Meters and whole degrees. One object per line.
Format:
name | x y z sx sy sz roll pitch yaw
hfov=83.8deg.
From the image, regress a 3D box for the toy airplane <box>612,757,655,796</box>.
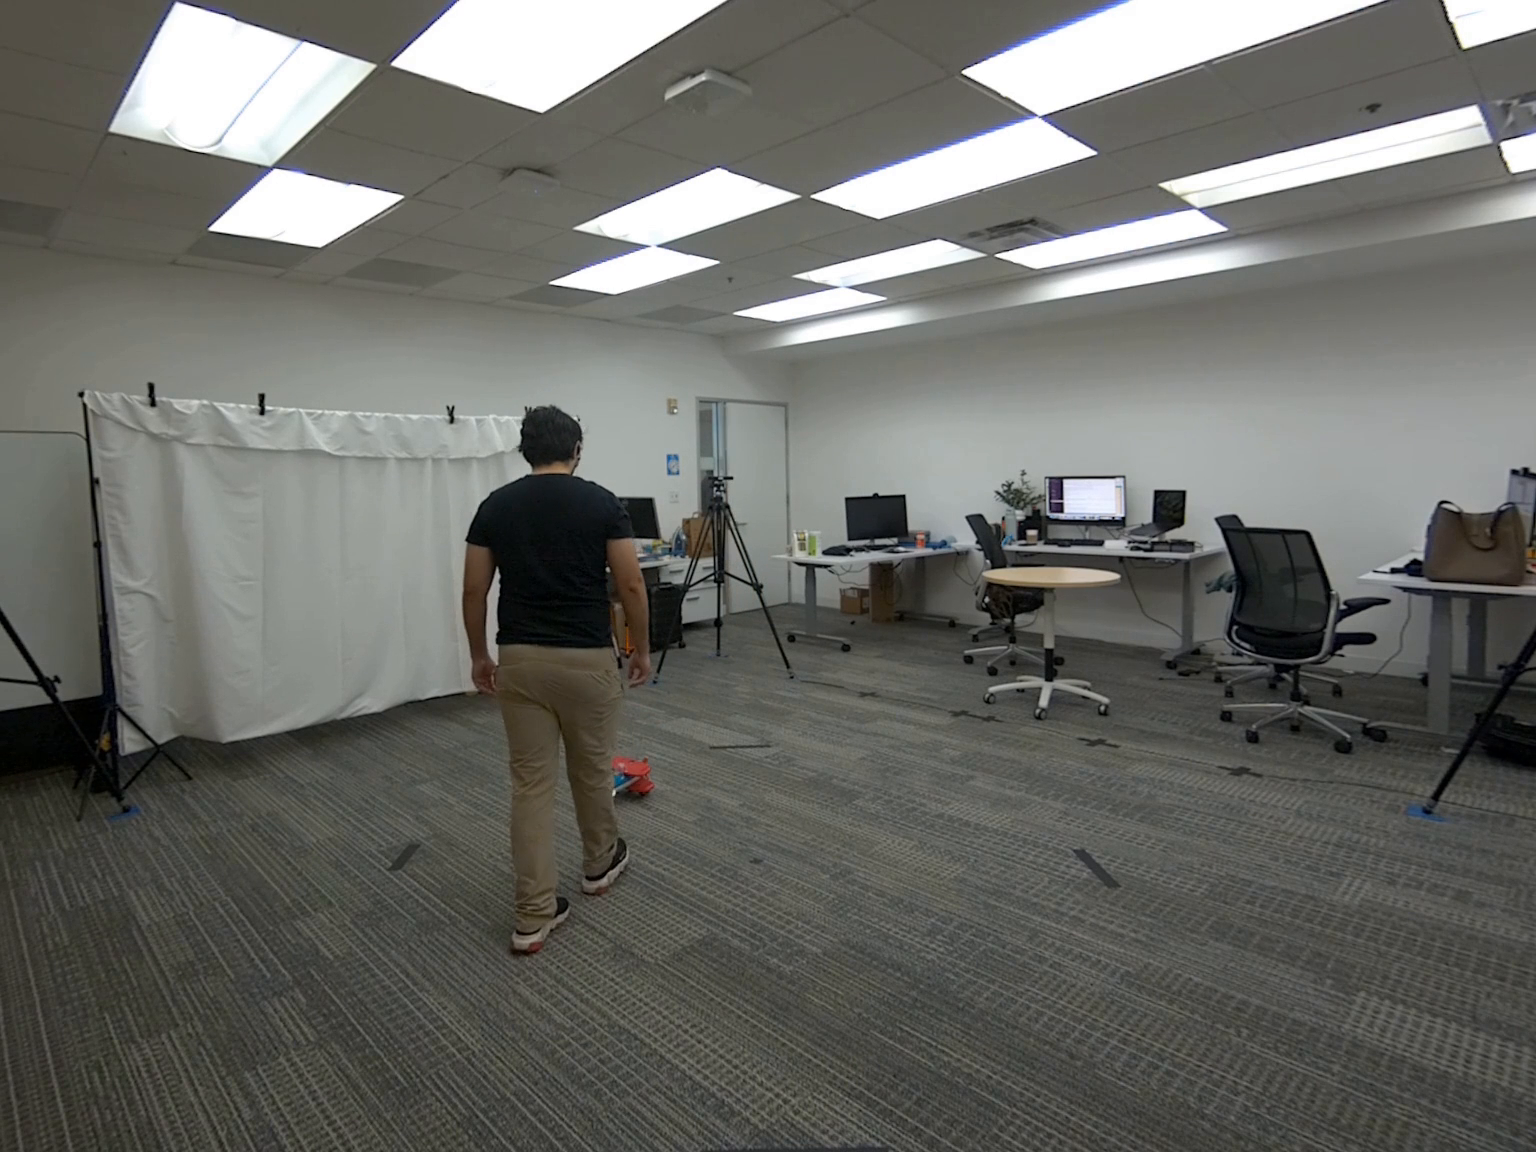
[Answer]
toy airplane | -0.618 0.900 3.730 0.254 0.156 0.257 0 4 11
